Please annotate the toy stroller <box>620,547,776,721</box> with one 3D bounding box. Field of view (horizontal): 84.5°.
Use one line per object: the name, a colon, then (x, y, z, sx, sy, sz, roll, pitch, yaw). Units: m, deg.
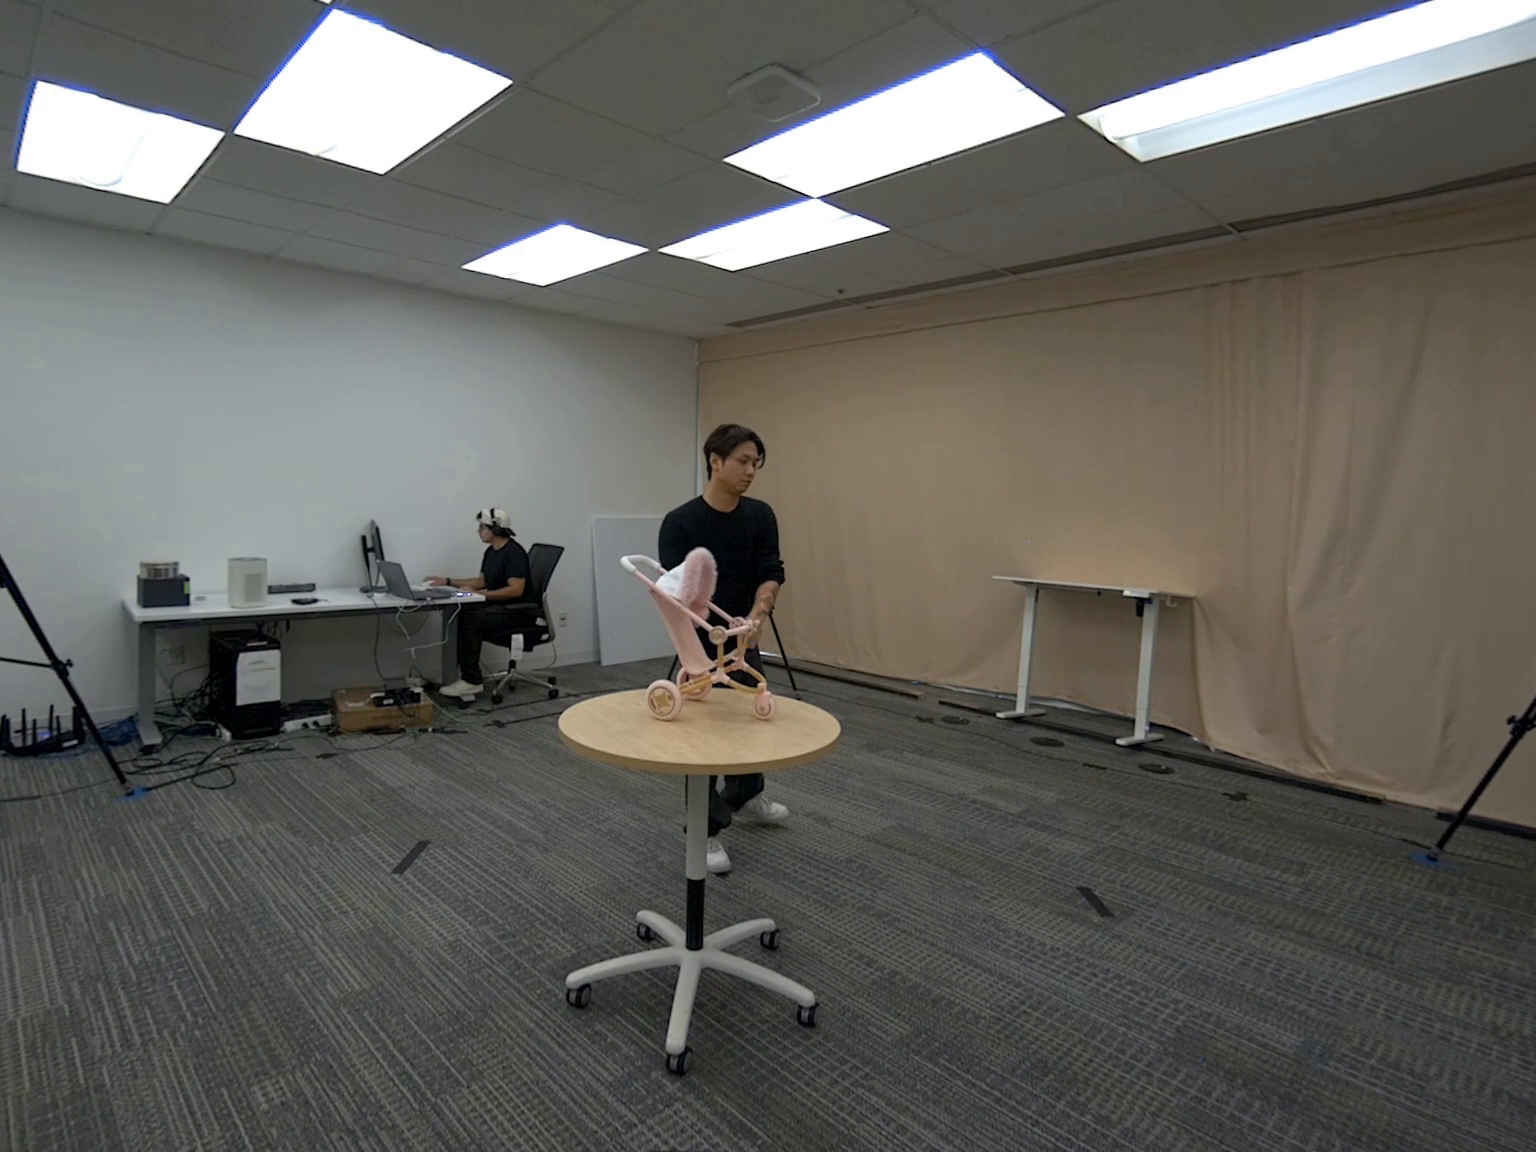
toy stroller: (-0.187, 0.165, 2.371, 0.345, 0.536, 0.277, -14, -3, 20)
